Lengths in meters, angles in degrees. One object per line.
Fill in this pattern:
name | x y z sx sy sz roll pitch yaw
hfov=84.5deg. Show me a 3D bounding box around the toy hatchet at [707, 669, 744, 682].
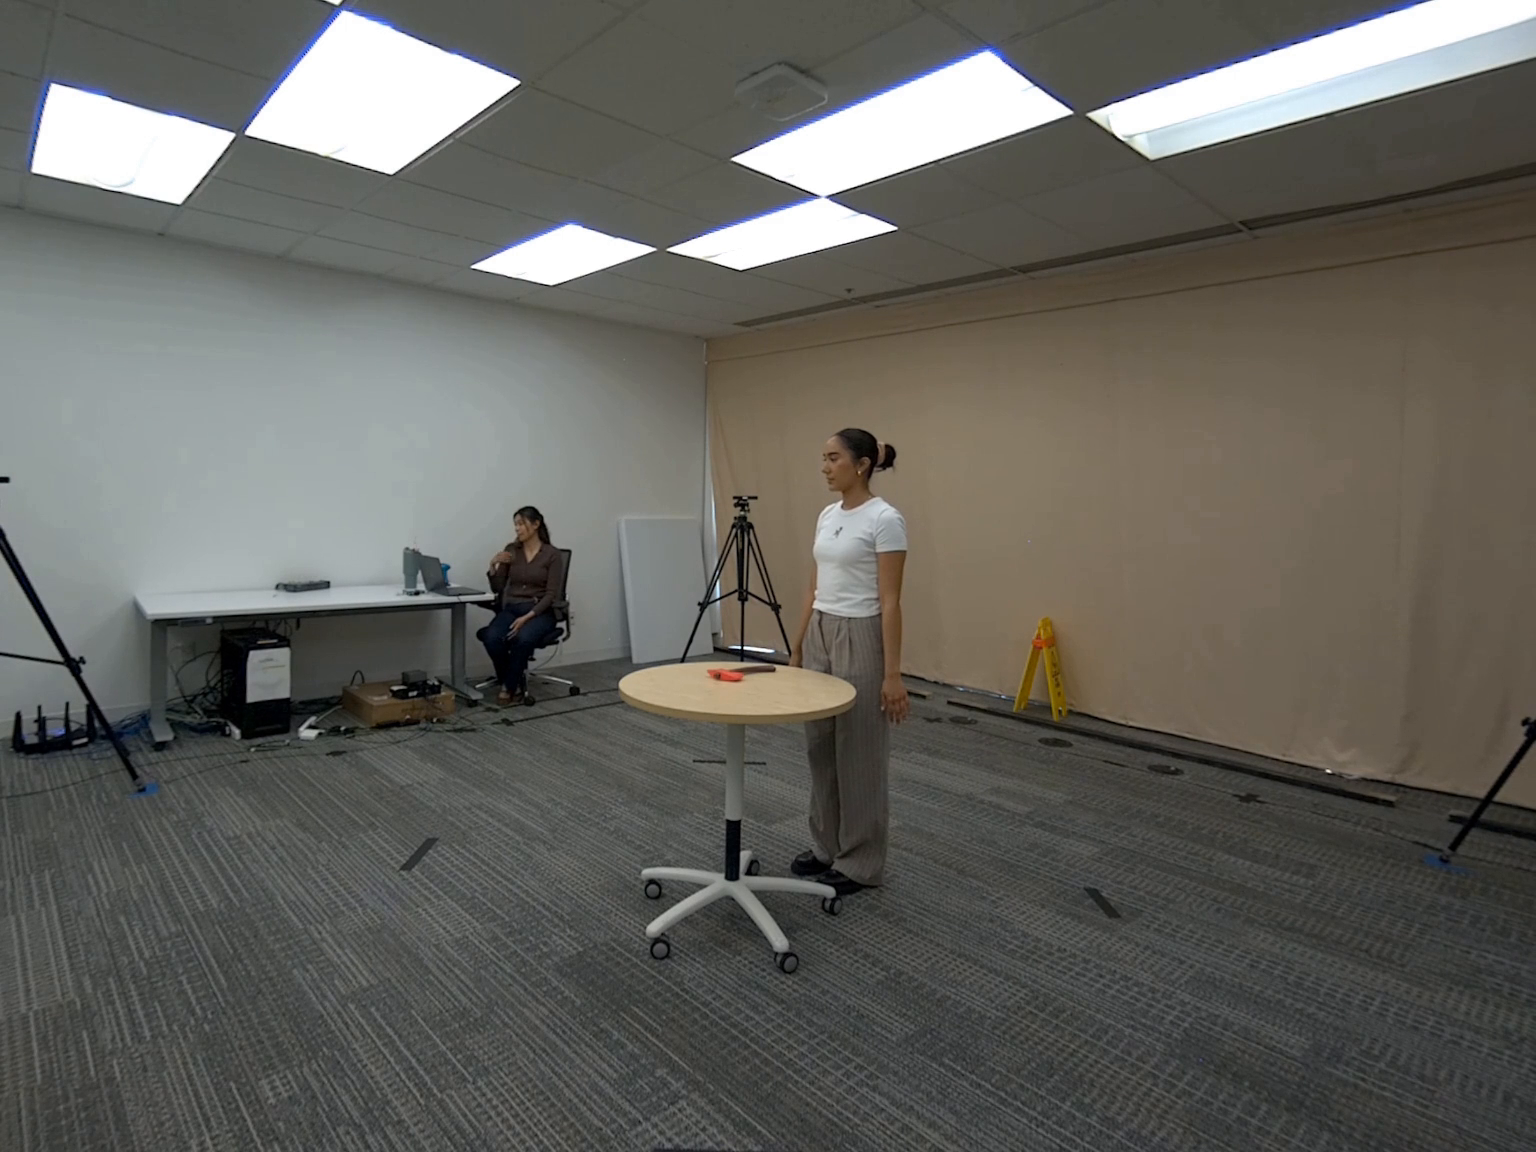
toy hatchet | -0.074 0.331 2.868 0.264 0.029 0.134 0 5 -33
